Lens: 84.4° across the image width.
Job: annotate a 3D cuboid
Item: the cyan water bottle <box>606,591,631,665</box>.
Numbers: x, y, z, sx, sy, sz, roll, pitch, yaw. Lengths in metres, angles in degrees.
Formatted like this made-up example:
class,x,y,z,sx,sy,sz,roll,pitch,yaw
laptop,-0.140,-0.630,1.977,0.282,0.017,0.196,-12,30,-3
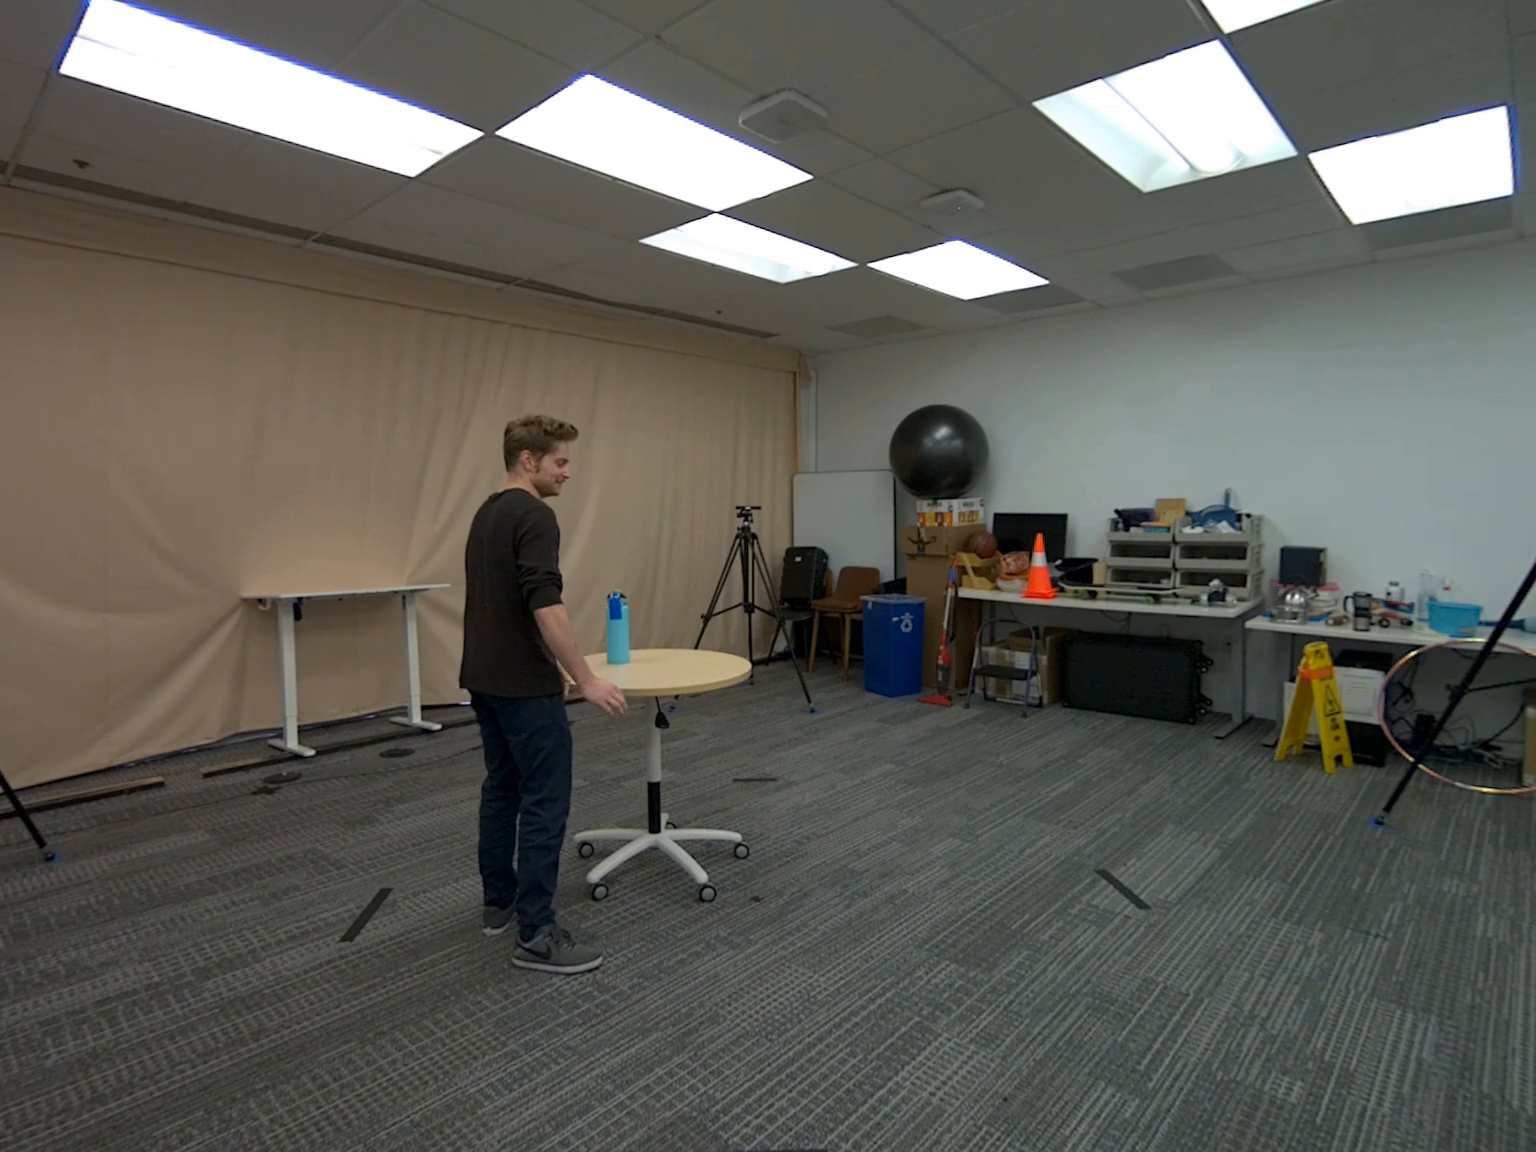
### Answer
class,x,y,z,sx,sy,sz,roll,pitch,yaw
cyan water bottle,-0.585,0.199,3.309,0.092,0.282,0.093,0,5,-2
